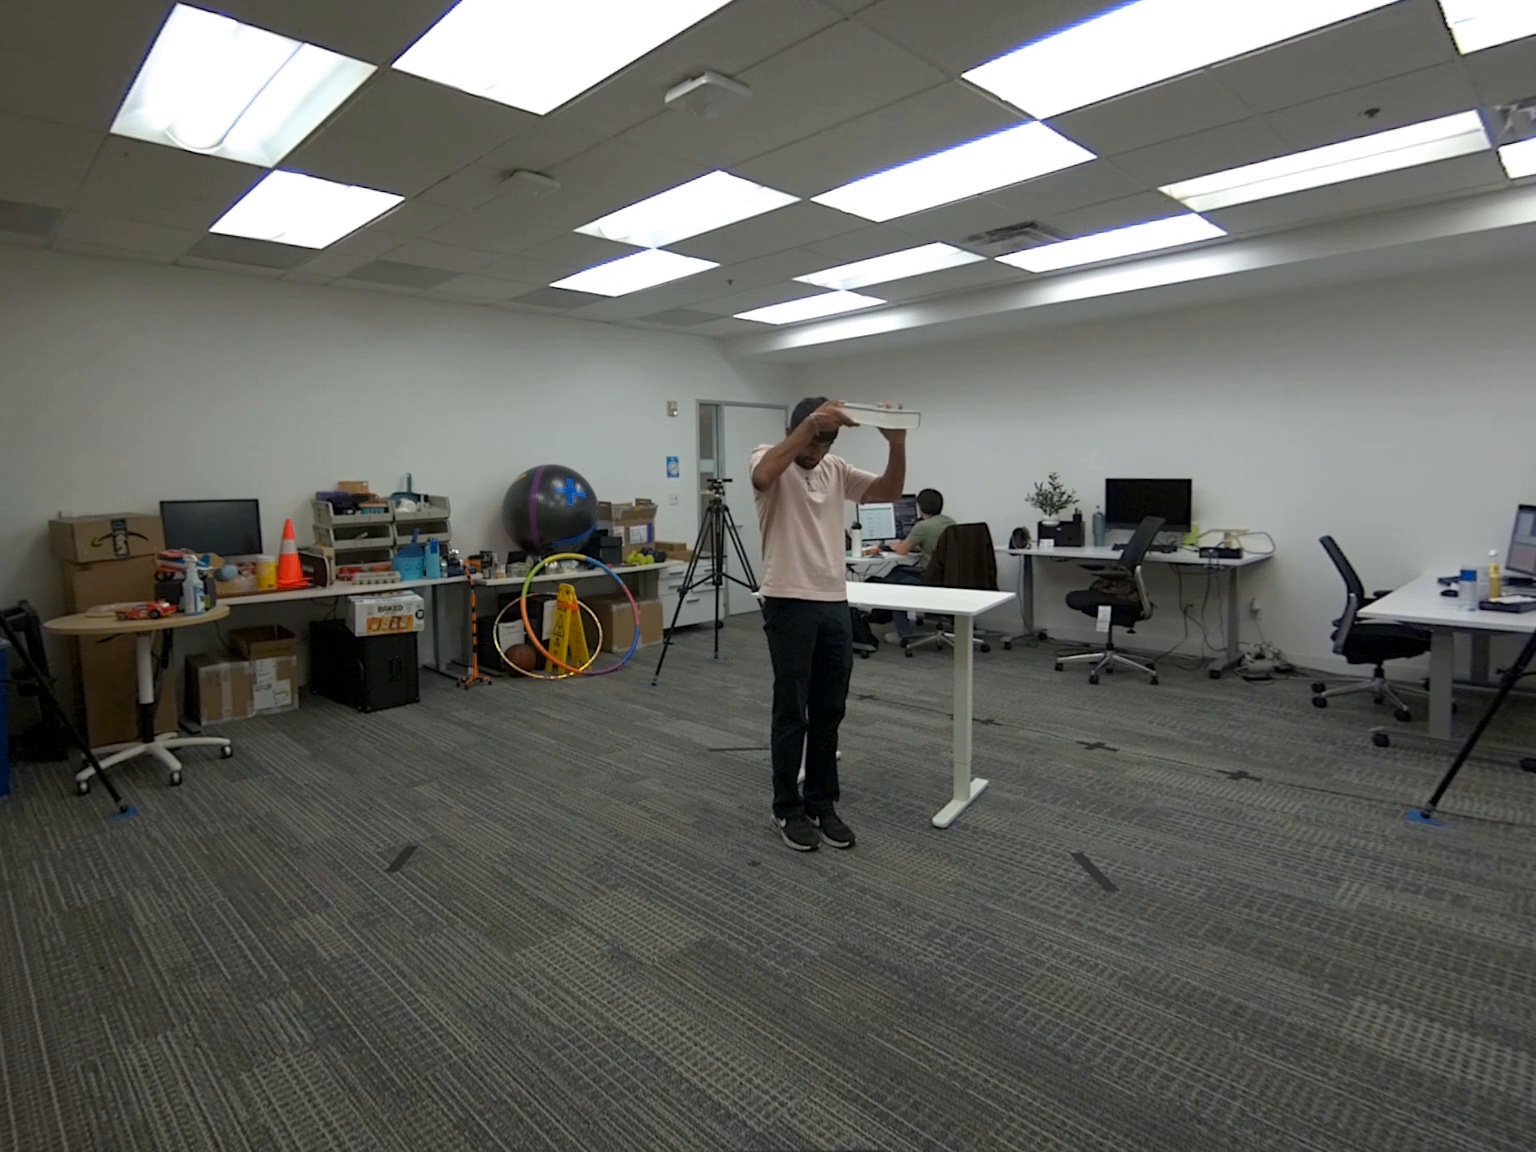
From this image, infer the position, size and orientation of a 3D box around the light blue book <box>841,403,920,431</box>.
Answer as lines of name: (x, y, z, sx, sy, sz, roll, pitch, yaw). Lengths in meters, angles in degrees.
light blue book: (0.379, -0.558, 3.001, 0.186, 0.058, 0.270, -3, 16, -33)
